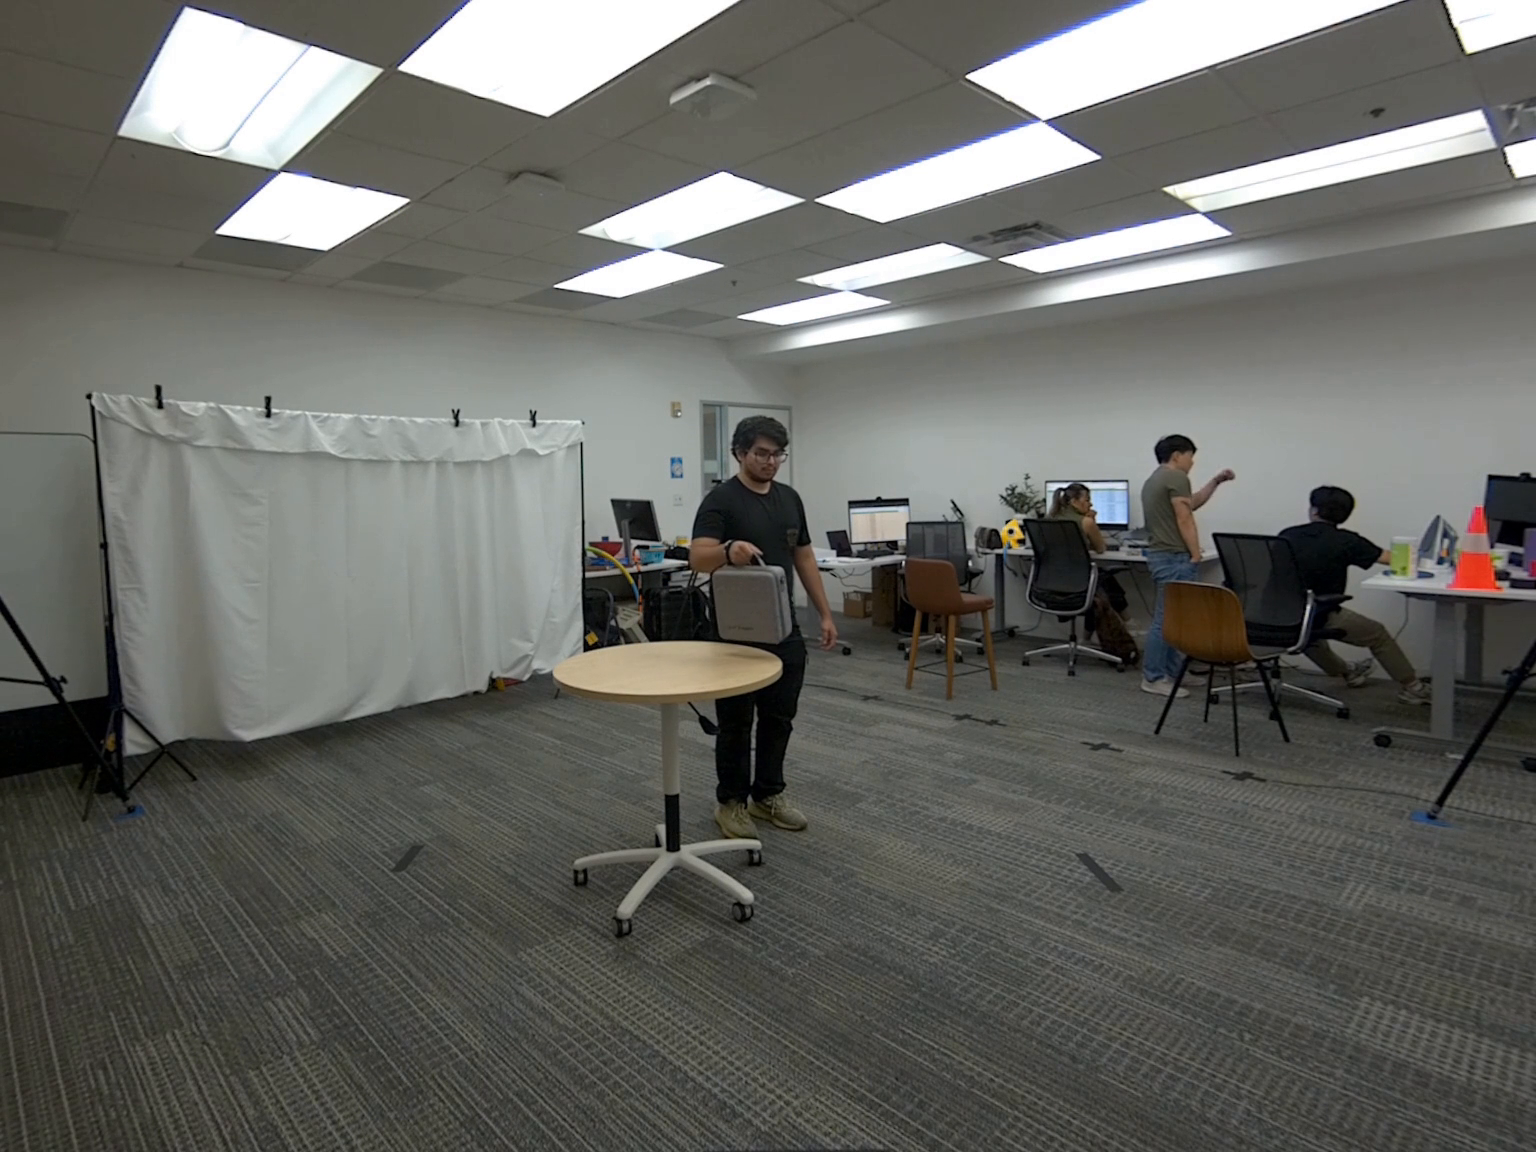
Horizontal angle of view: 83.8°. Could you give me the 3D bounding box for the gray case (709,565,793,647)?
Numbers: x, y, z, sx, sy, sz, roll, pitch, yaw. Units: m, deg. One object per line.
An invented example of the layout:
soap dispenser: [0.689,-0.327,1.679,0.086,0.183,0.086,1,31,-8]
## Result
gray case: [-0.063,0.097,2.935,0.264,0.258,0.102,2,13,34]
